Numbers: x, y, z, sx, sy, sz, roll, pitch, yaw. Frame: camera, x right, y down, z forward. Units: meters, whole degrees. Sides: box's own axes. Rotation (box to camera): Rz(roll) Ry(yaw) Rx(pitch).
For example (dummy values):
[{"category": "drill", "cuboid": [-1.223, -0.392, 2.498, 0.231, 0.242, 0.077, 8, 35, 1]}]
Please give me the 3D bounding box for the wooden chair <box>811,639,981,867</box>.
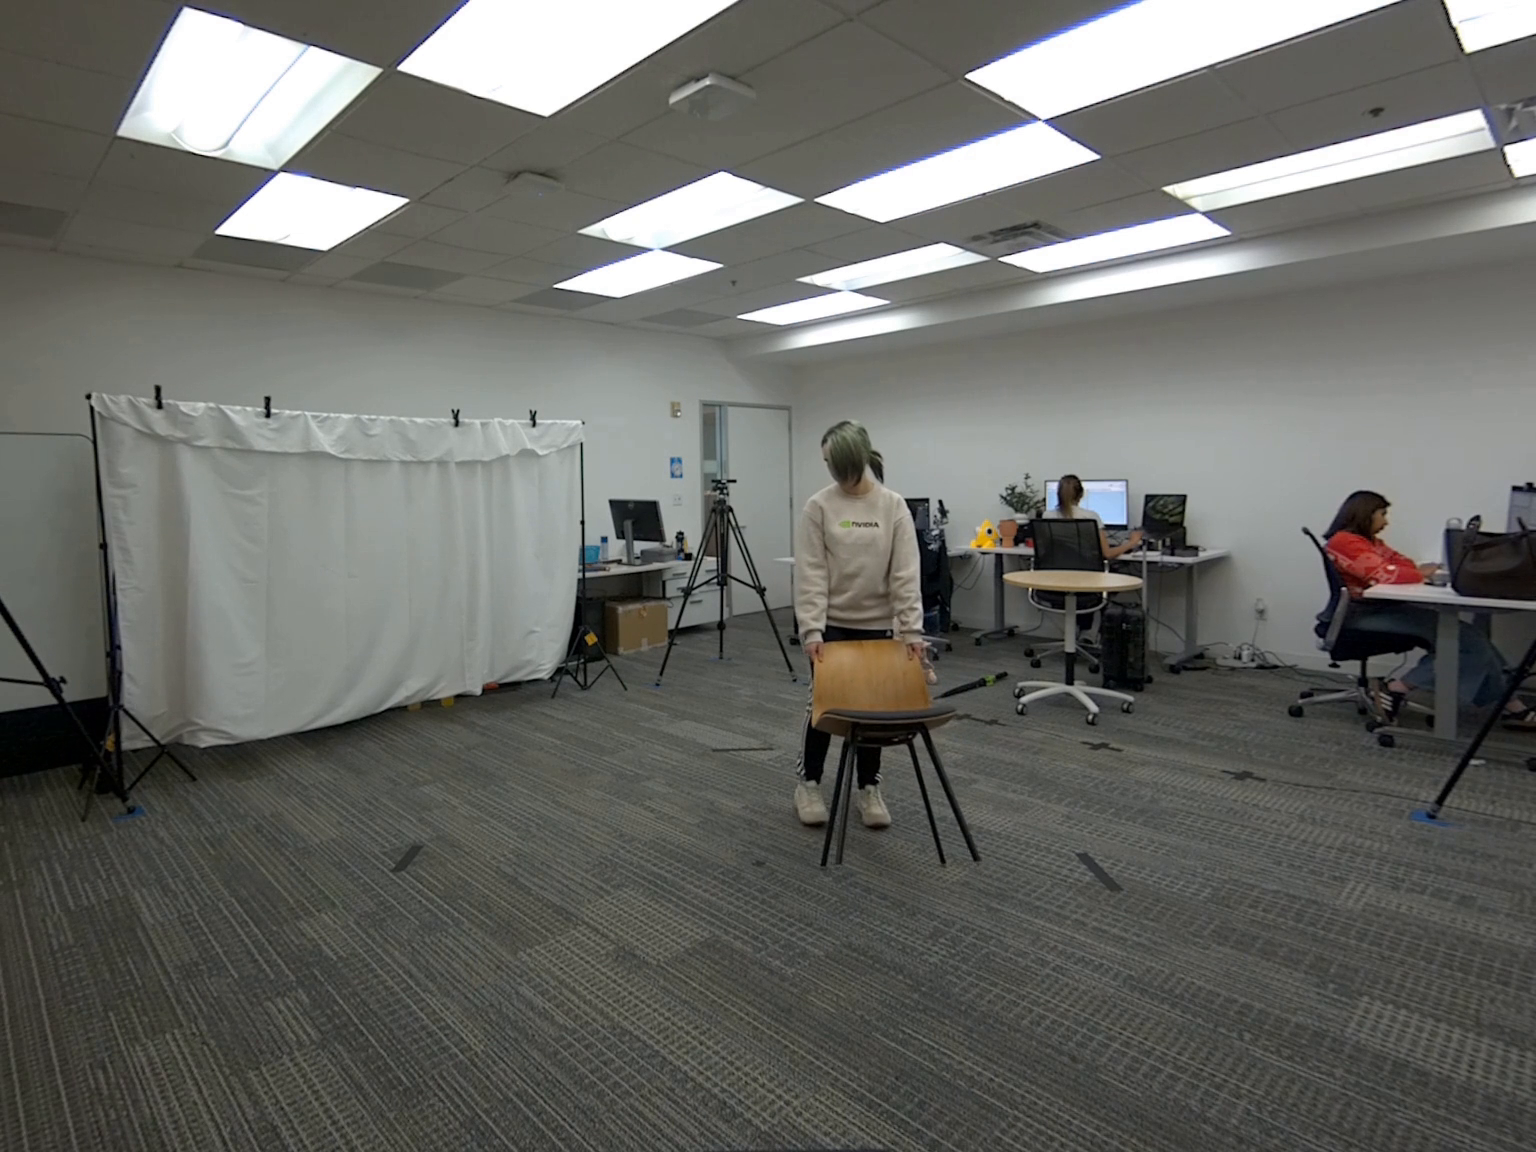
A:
[{"category": "wooden chair", "cuboid": [0.411, 0.571, 3.006, 0.477, 0.897, 0.512, -1, -26, -2]}]
